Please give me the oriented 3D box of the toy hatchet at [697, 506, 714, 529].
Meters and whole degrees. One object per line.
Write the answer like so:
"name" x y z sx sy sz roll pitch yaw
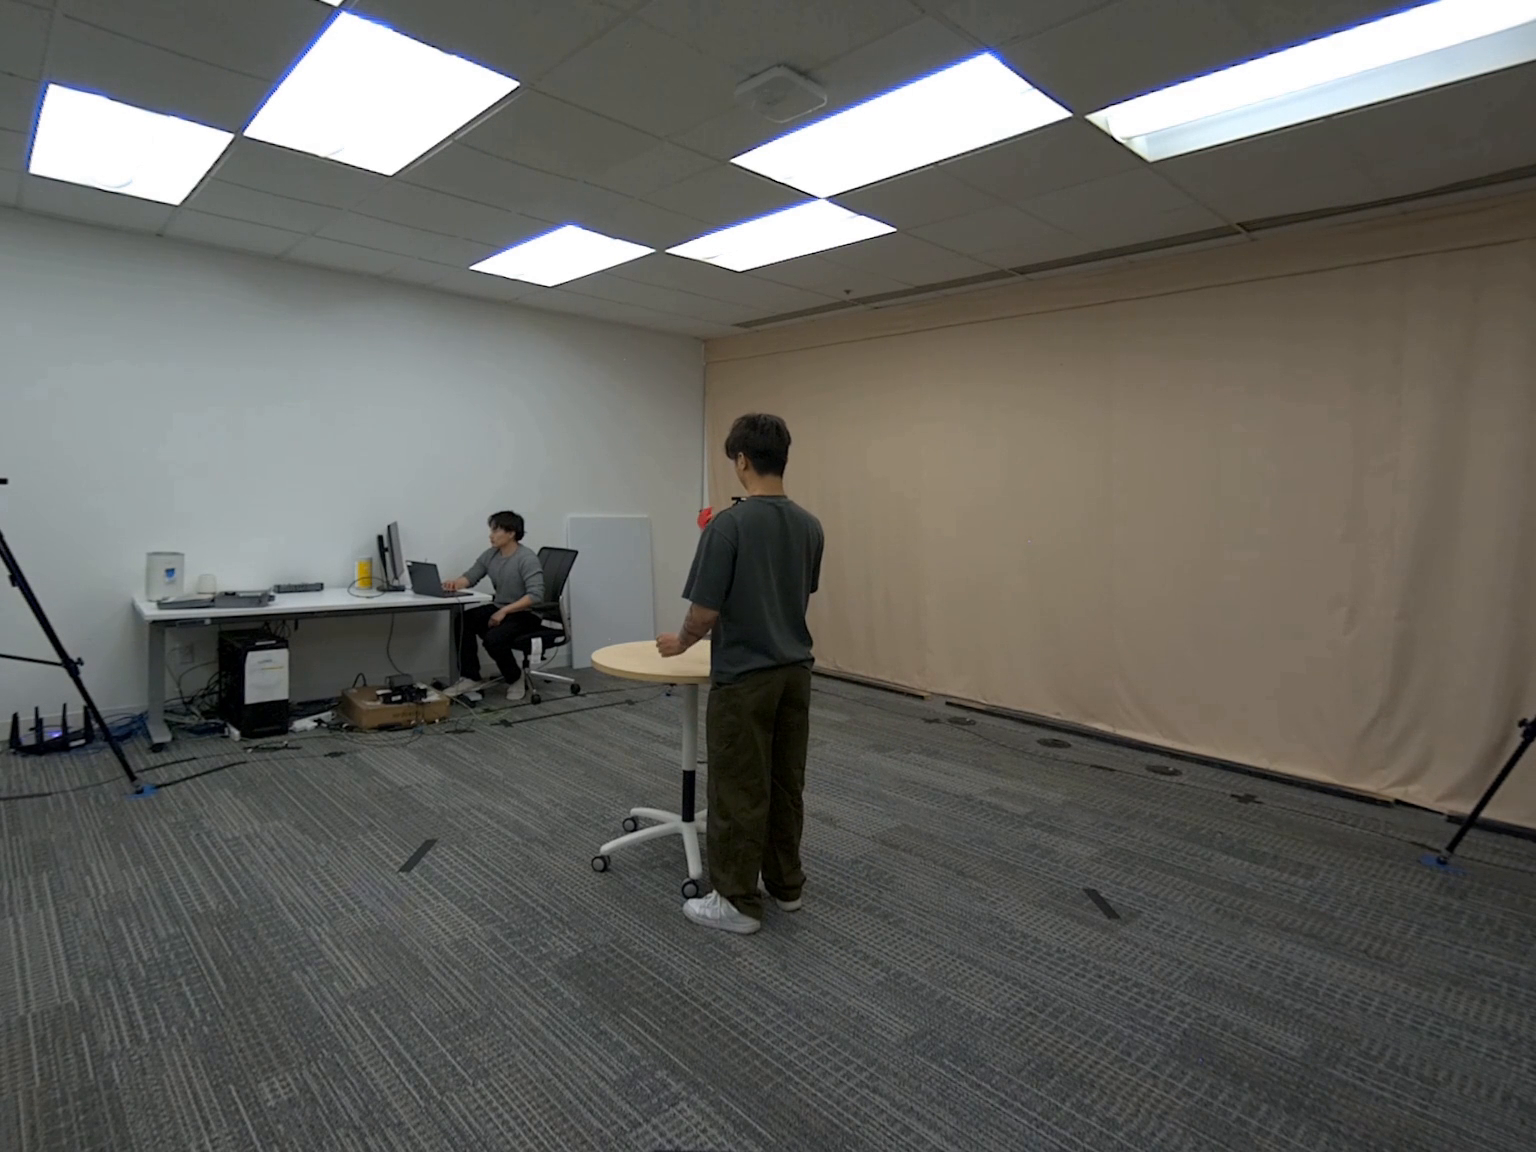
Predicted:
"toy hatchet" -0.204 -0.137 3.203 0.029 0.269 0.133 -26 2 -36
